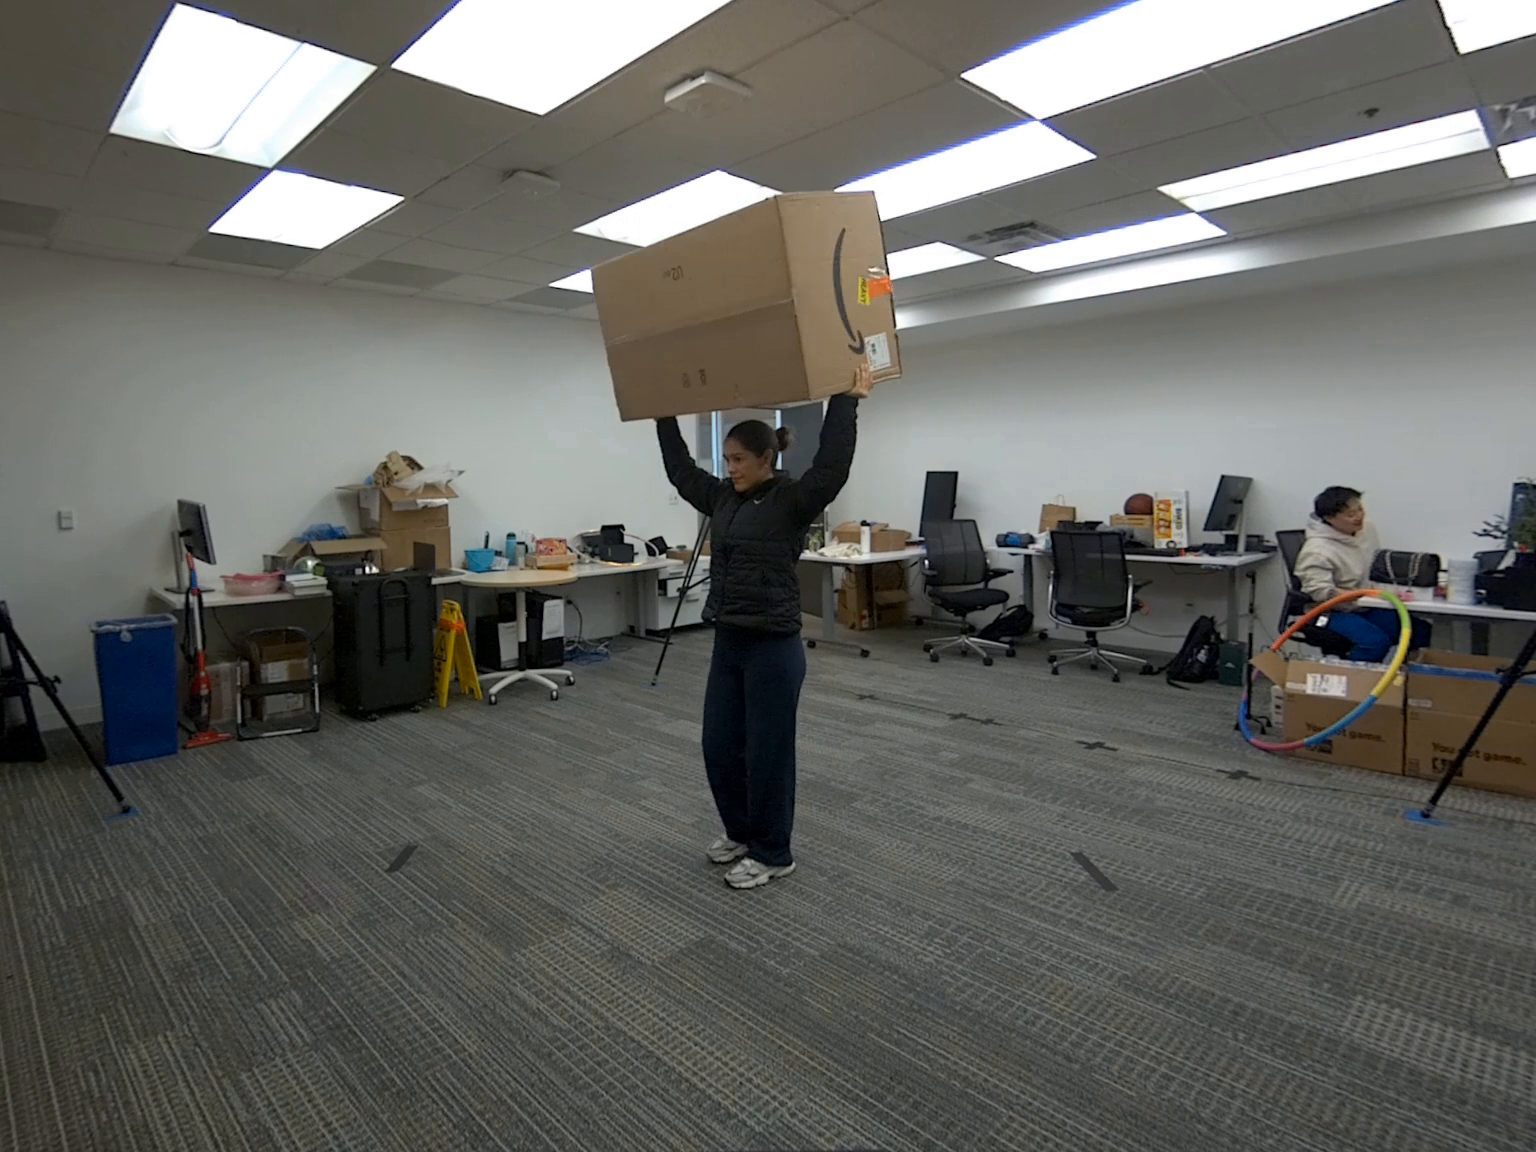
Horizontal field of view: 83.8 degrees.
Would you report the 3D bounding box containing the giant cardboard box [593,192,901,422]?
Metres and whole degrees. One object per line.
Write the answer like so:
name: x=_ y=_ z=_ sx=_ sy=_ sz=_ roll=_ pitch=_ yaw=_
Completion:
giant cardboard box: x=-0.114 y=-0.872 z=2.924 sx=0.439 sy=0.576 sz=1.059 roll=-19 pitch=17 yaw=-38
